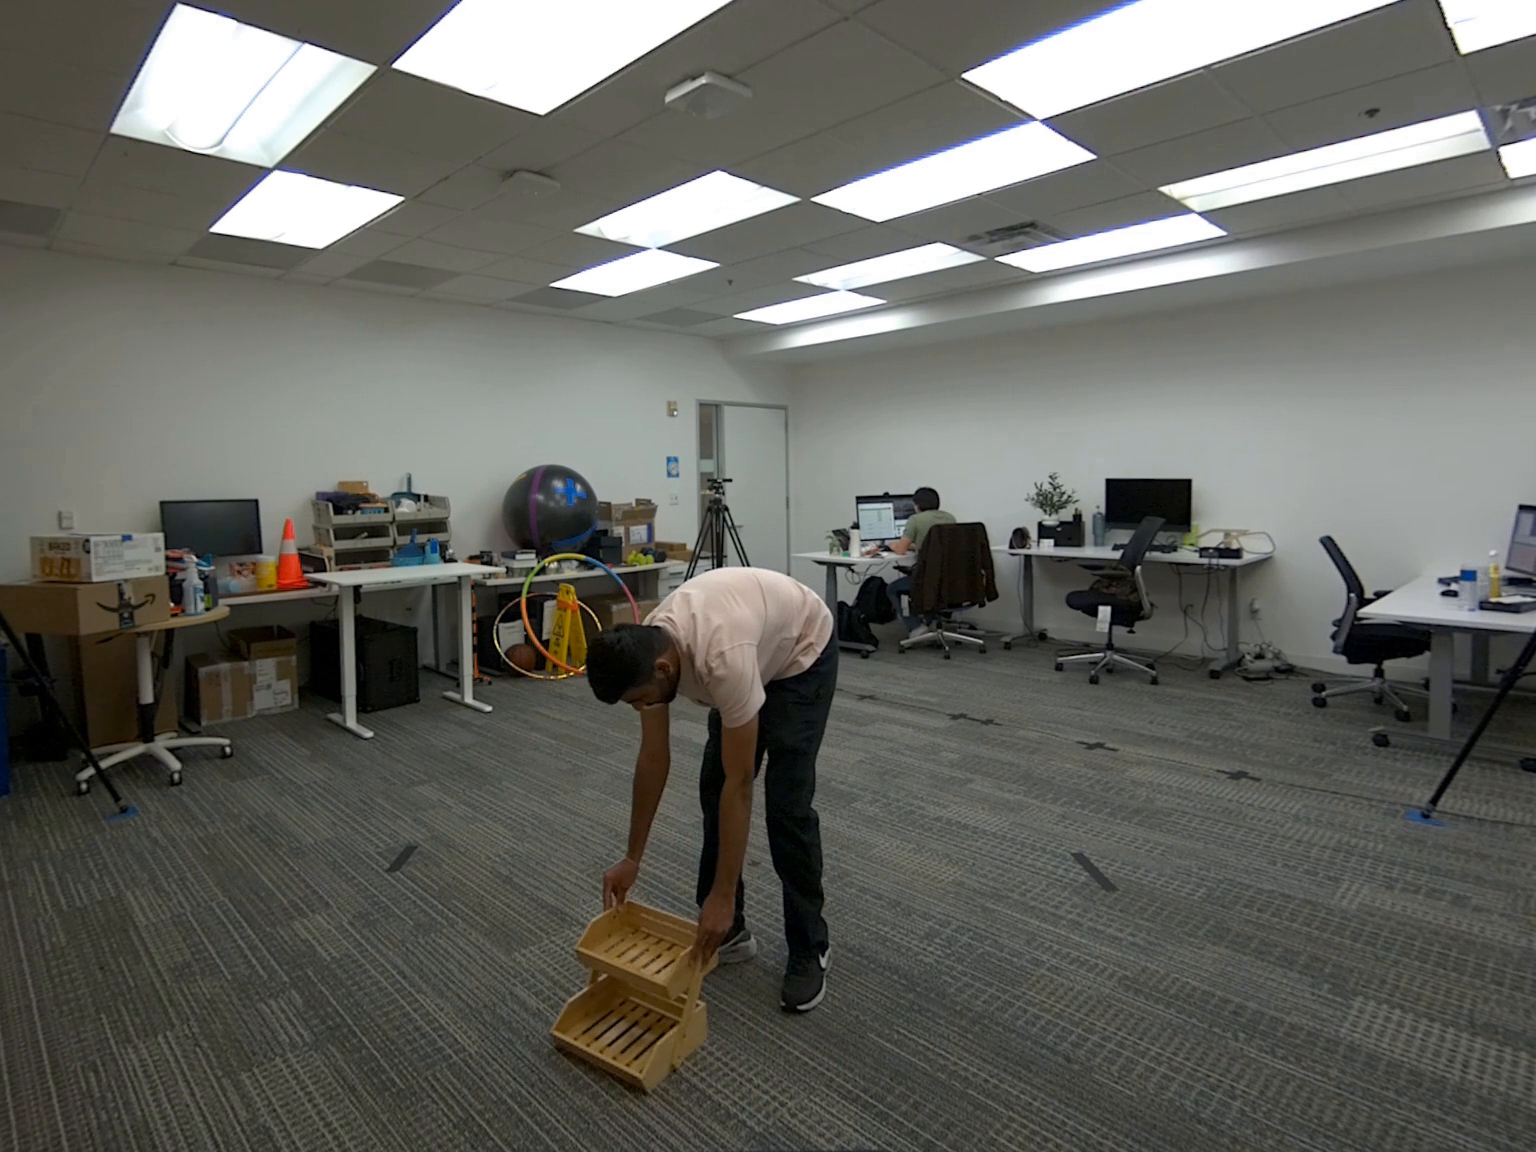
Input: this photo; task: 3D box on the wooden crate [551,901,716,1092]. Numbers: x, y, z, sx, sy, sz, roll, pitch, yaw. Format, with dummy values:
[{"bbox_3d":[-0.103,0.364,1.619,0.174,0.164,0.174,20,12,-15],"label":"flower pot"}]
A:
[{"bbox_3d":[-0.329,1.037,2.133,0.333,0.272,0.295,2,6,33],"label":"wooden crate"}]
